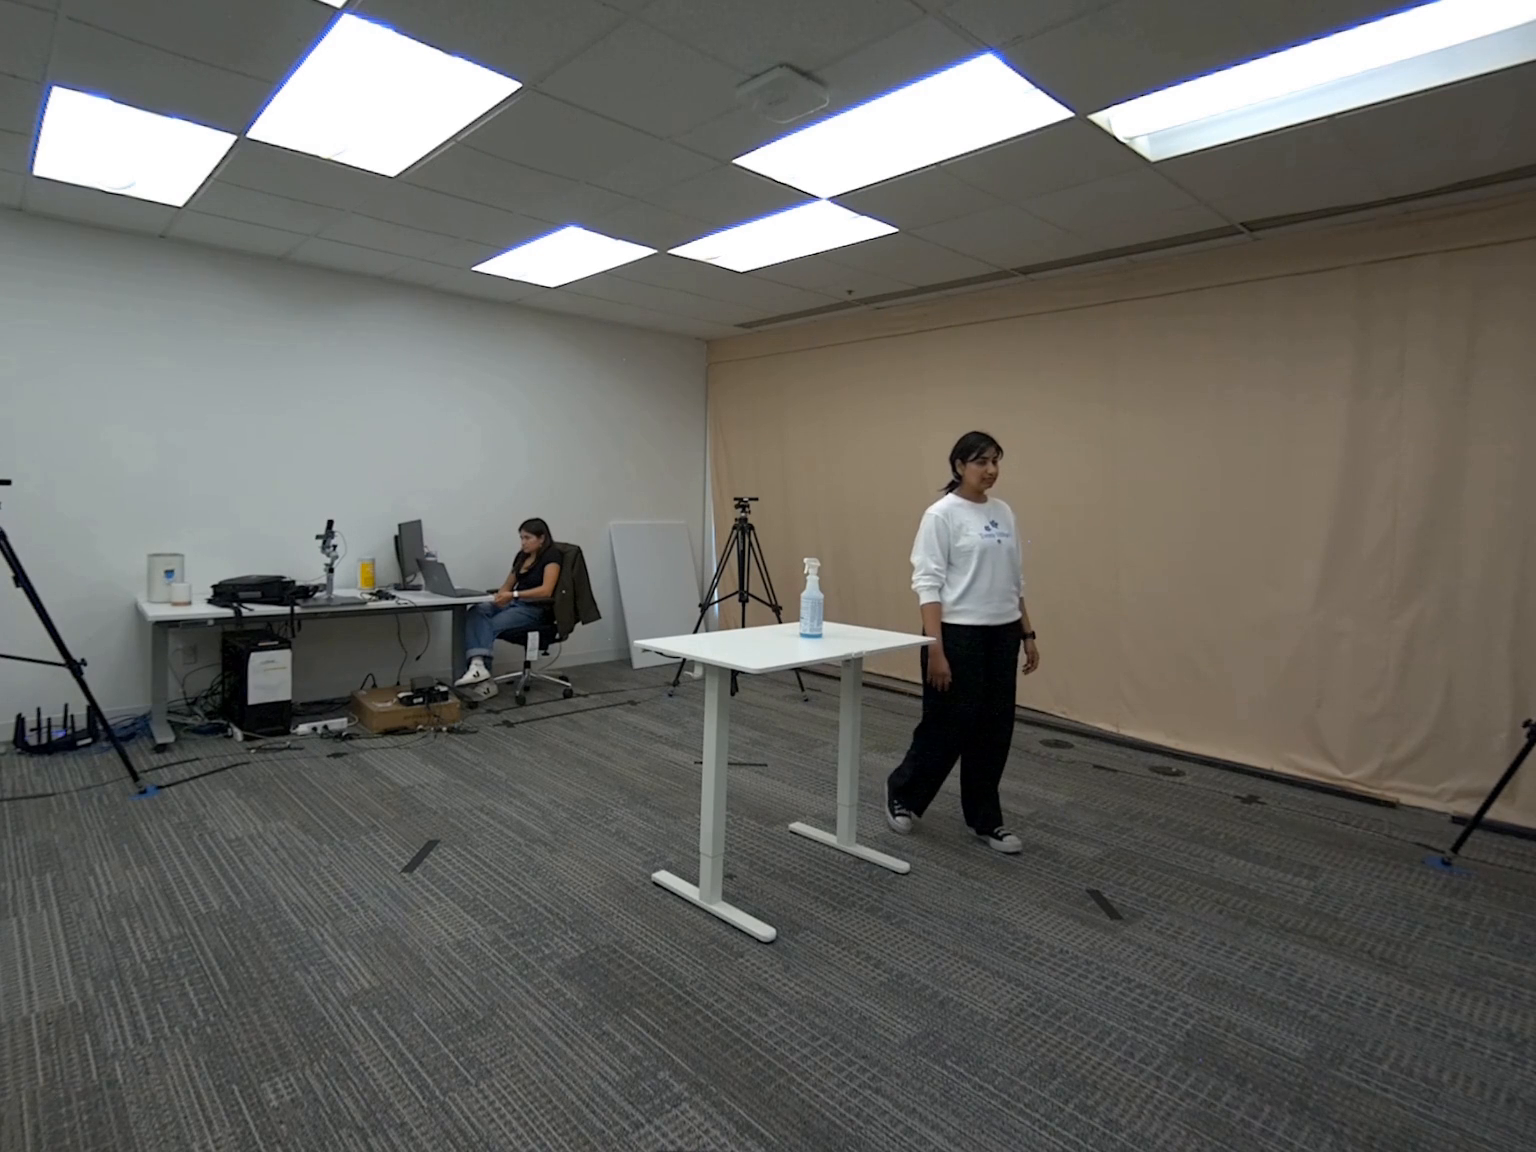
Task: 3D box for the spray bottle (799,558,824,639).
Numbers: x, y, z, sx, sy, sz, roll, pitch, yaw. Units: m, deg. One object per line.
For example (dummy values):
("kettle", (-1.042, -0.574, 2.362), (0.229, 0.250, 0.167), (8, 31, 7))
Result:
("spray bottle", (0.159, 0.083, 3.162), (0.088, 0.296, 0.089), (-1, 4, -24))
